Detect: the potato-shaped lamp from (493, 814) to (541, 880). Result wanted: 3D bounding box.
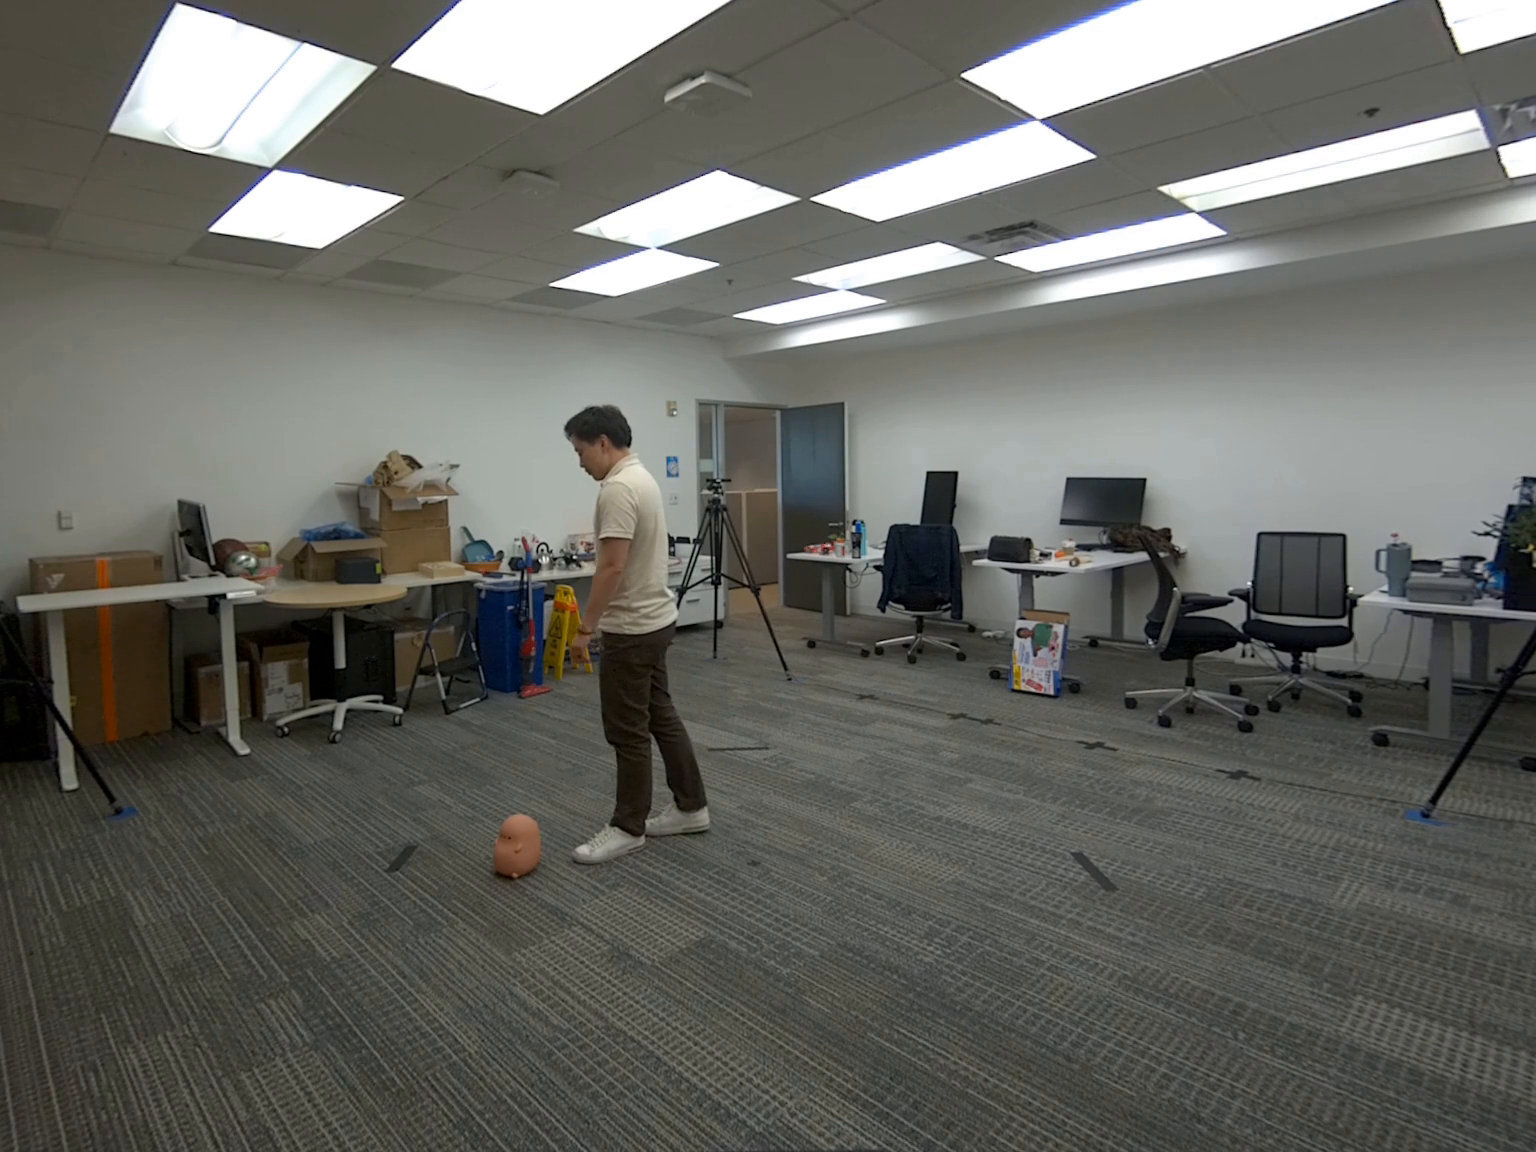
[{"bbox_3d":[-0.905,0.966,3.085,0.169,0.197,0.167,2,8,36],"label":"potato-shaped lamp"}]
